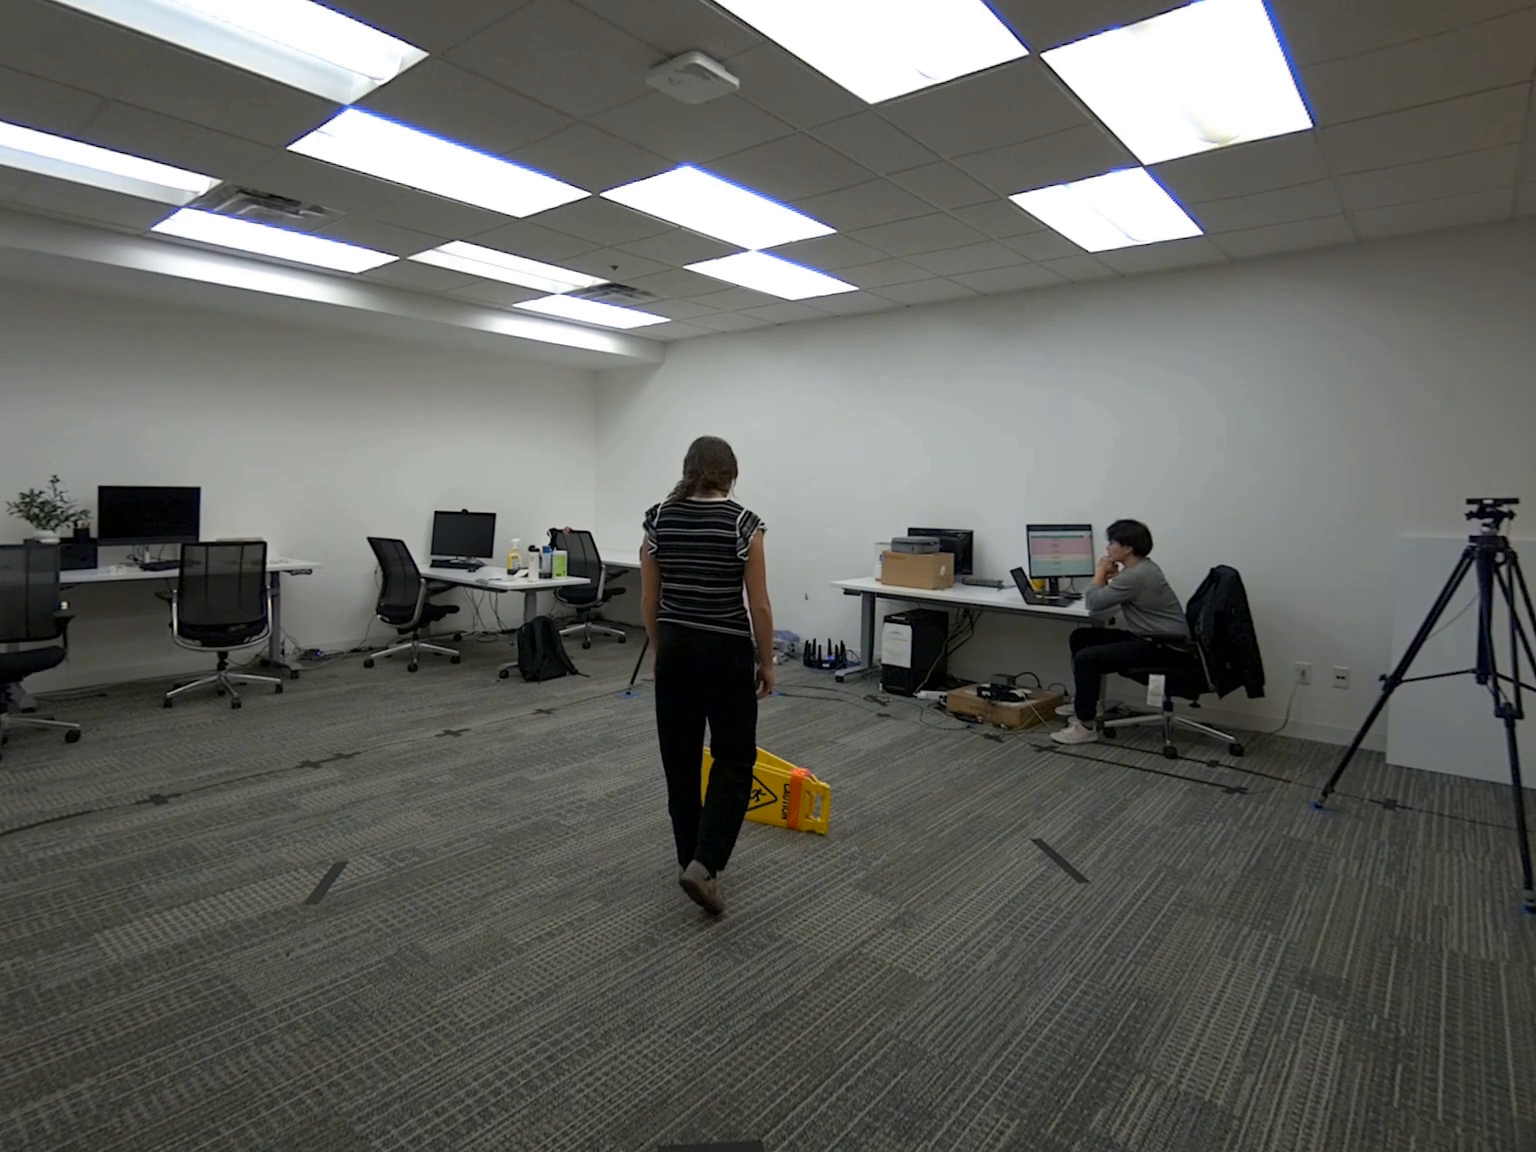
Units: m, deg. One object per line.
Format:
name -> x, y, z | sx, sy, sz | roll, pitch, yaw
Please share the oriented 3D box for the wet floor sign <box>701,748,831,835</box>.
wet floor sign -> -0.030, 0.896, 3.619 | 0.668, 0.281, 0.281 | 9, 7, 36
